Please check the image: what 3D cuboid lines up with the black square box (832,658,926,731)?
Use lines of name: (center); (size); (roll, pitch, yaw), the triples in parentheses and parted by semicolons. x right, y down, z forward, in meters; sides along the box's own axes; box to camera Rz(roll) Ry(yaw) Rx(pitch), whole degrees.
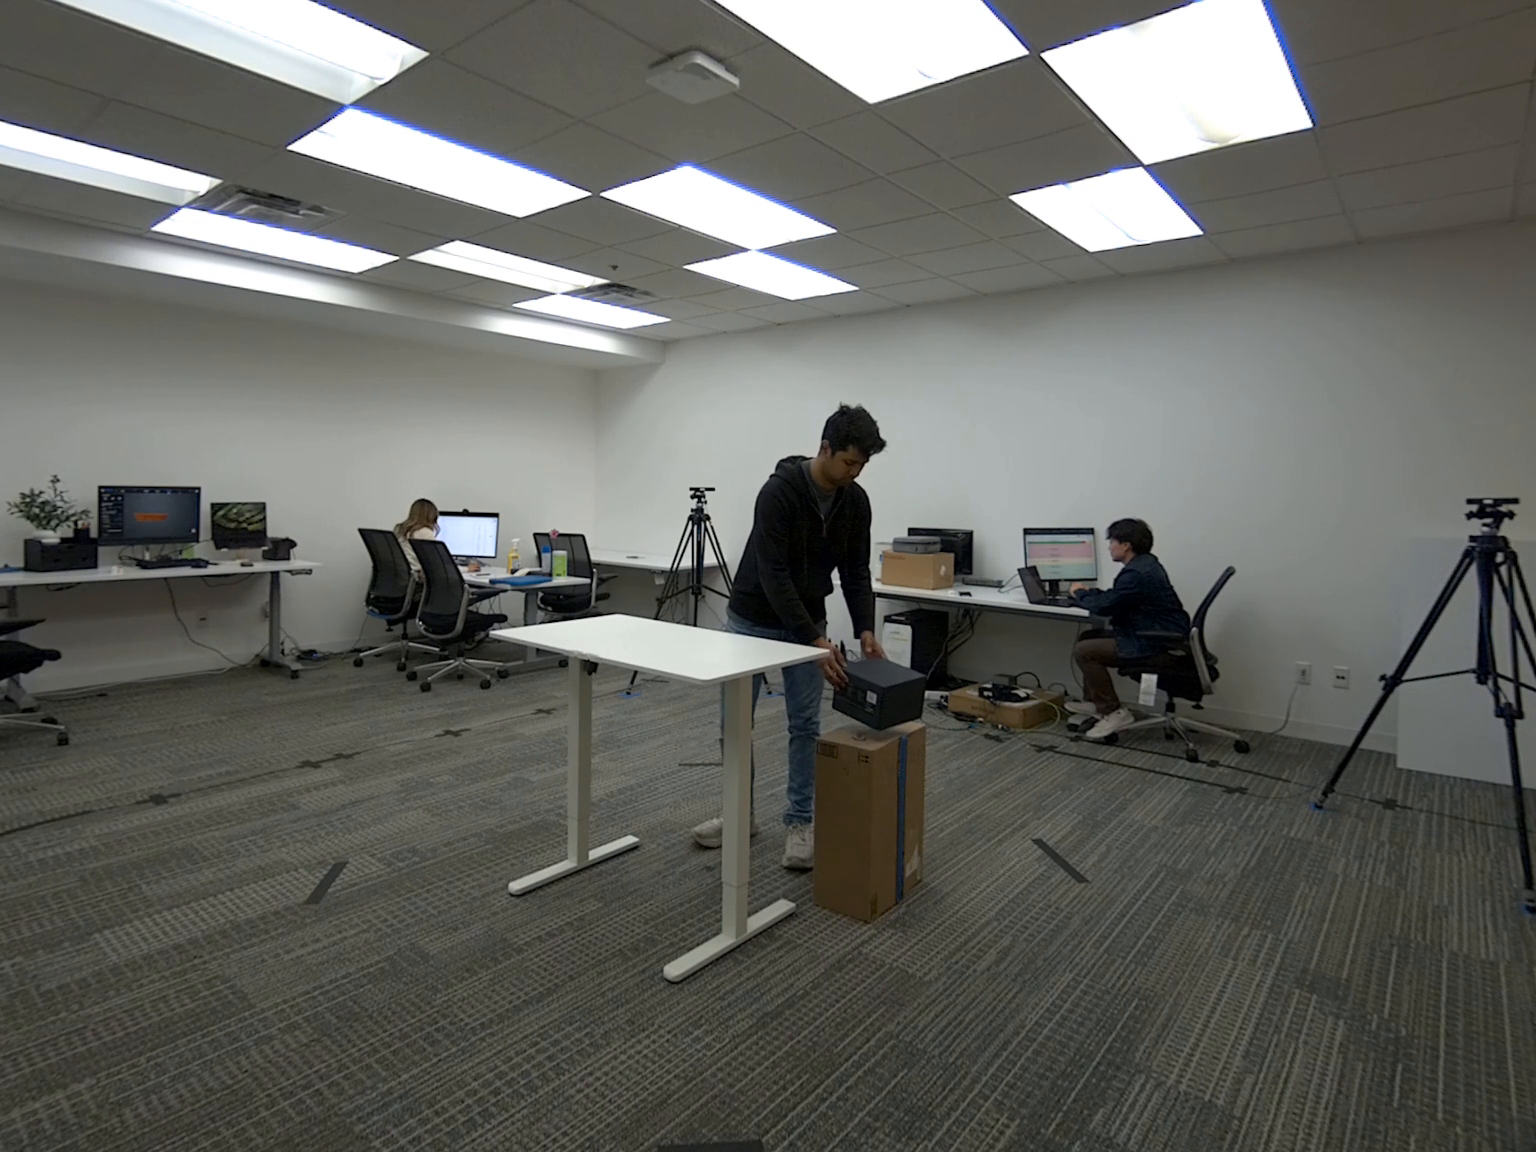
black square box: (0.373, 0.392, 2.913); (0.221, 0.154, 0.225); (-7, 17, -41)
